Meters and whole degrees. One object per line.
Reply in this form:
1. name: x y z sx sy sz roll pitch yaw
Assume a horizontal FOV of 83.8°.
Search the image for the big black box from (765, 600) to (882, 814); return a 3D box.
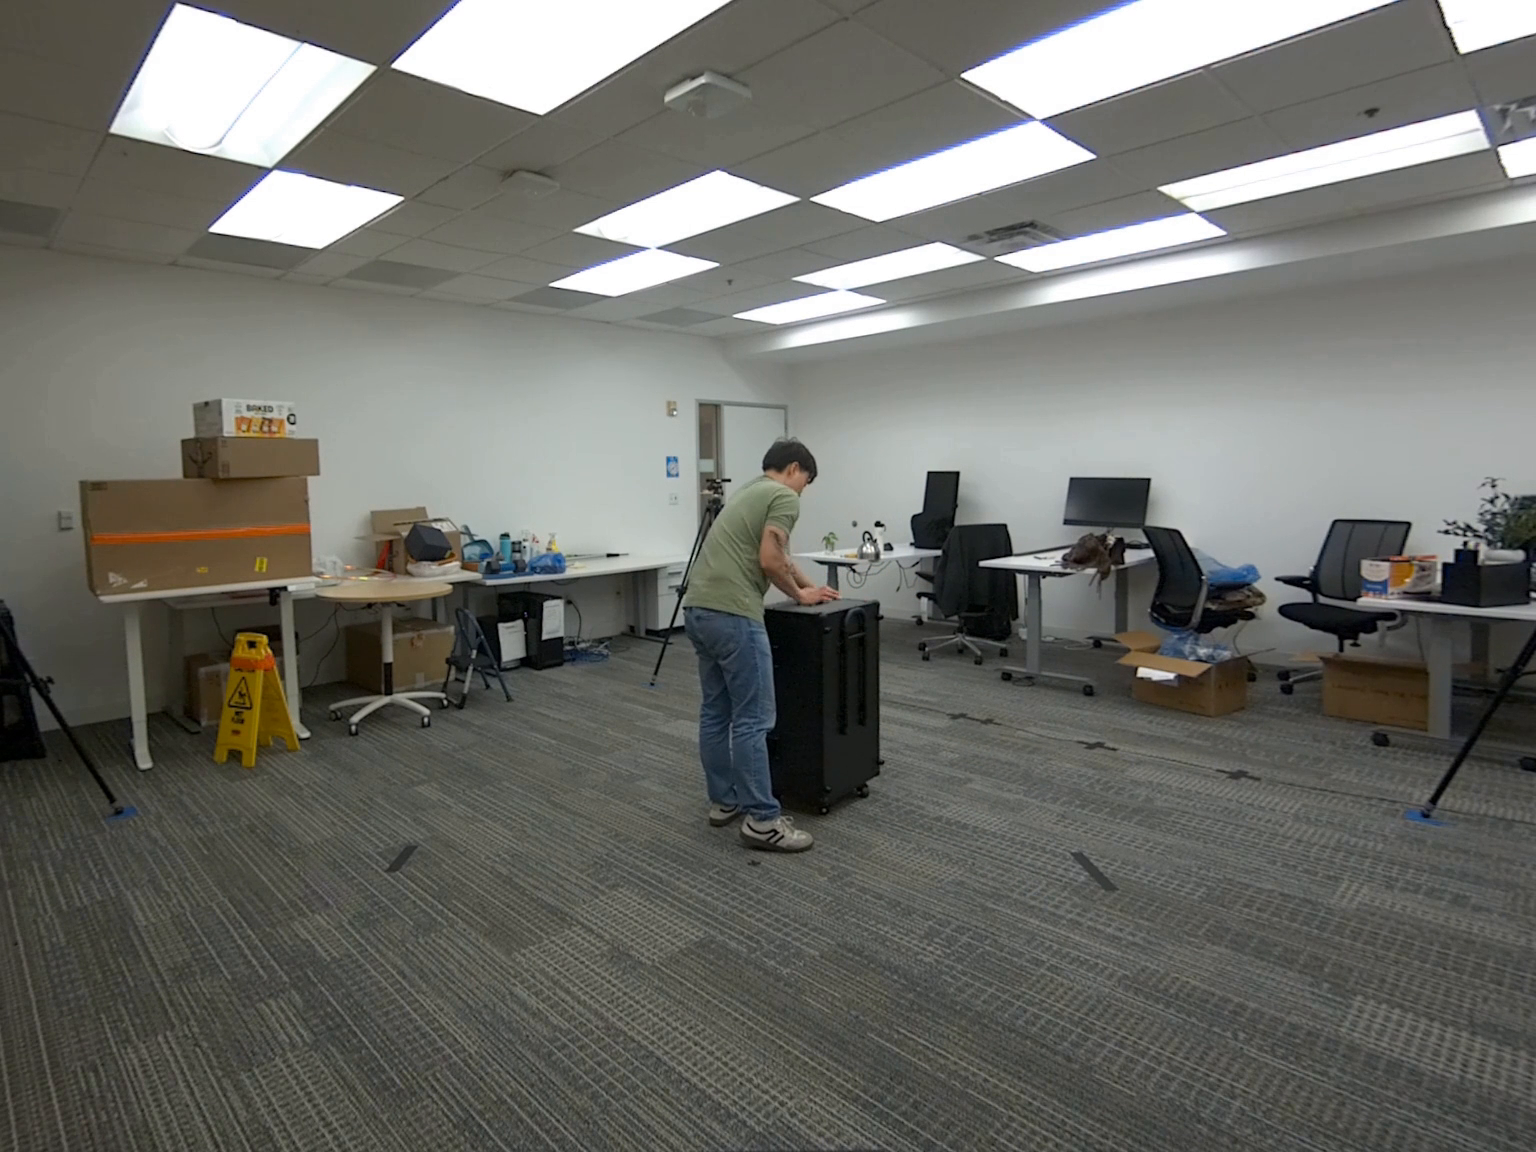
1. big black box: 0.231 0.548 3.716 0.408 0.858 0.508 4 6 36
